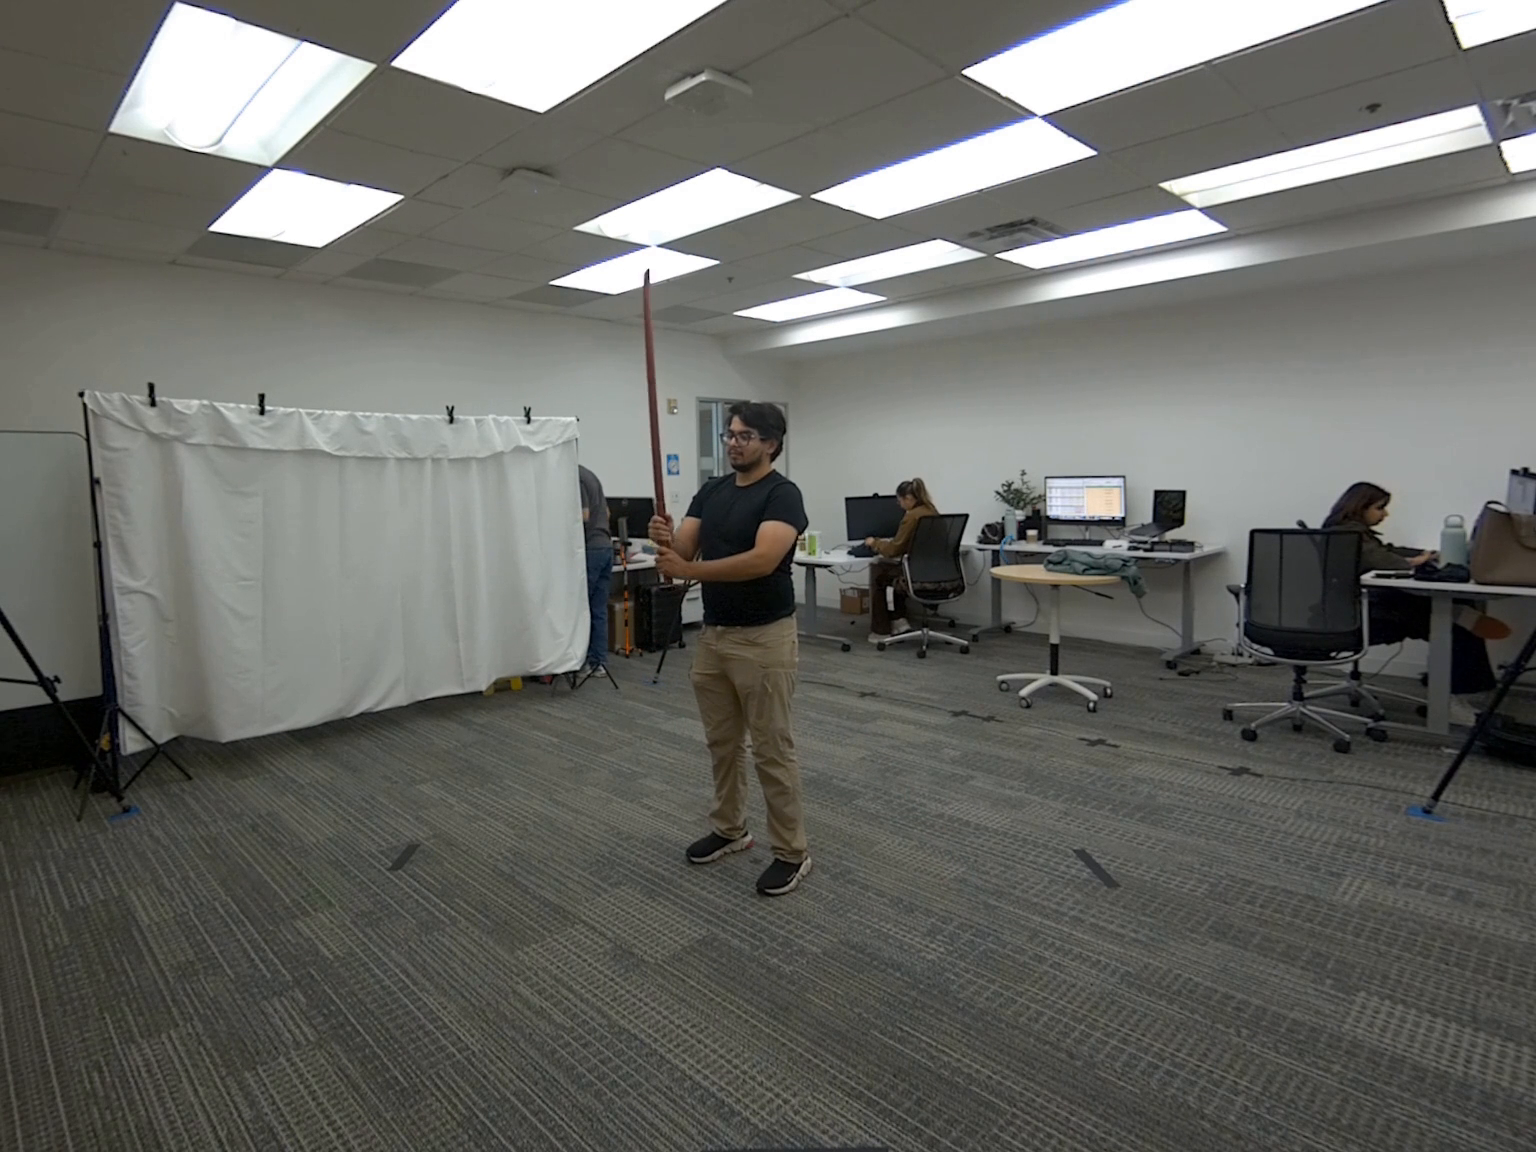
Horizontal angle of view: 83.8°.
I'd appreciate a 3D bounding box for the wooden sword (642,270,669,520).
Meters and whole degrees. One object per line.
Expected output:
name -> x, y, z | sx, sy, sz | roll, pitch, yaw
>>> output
wooden sword -> -0.372, -0.479, 2.761 | 0.024, 1.023, 0.050 | -4, 1, 22
